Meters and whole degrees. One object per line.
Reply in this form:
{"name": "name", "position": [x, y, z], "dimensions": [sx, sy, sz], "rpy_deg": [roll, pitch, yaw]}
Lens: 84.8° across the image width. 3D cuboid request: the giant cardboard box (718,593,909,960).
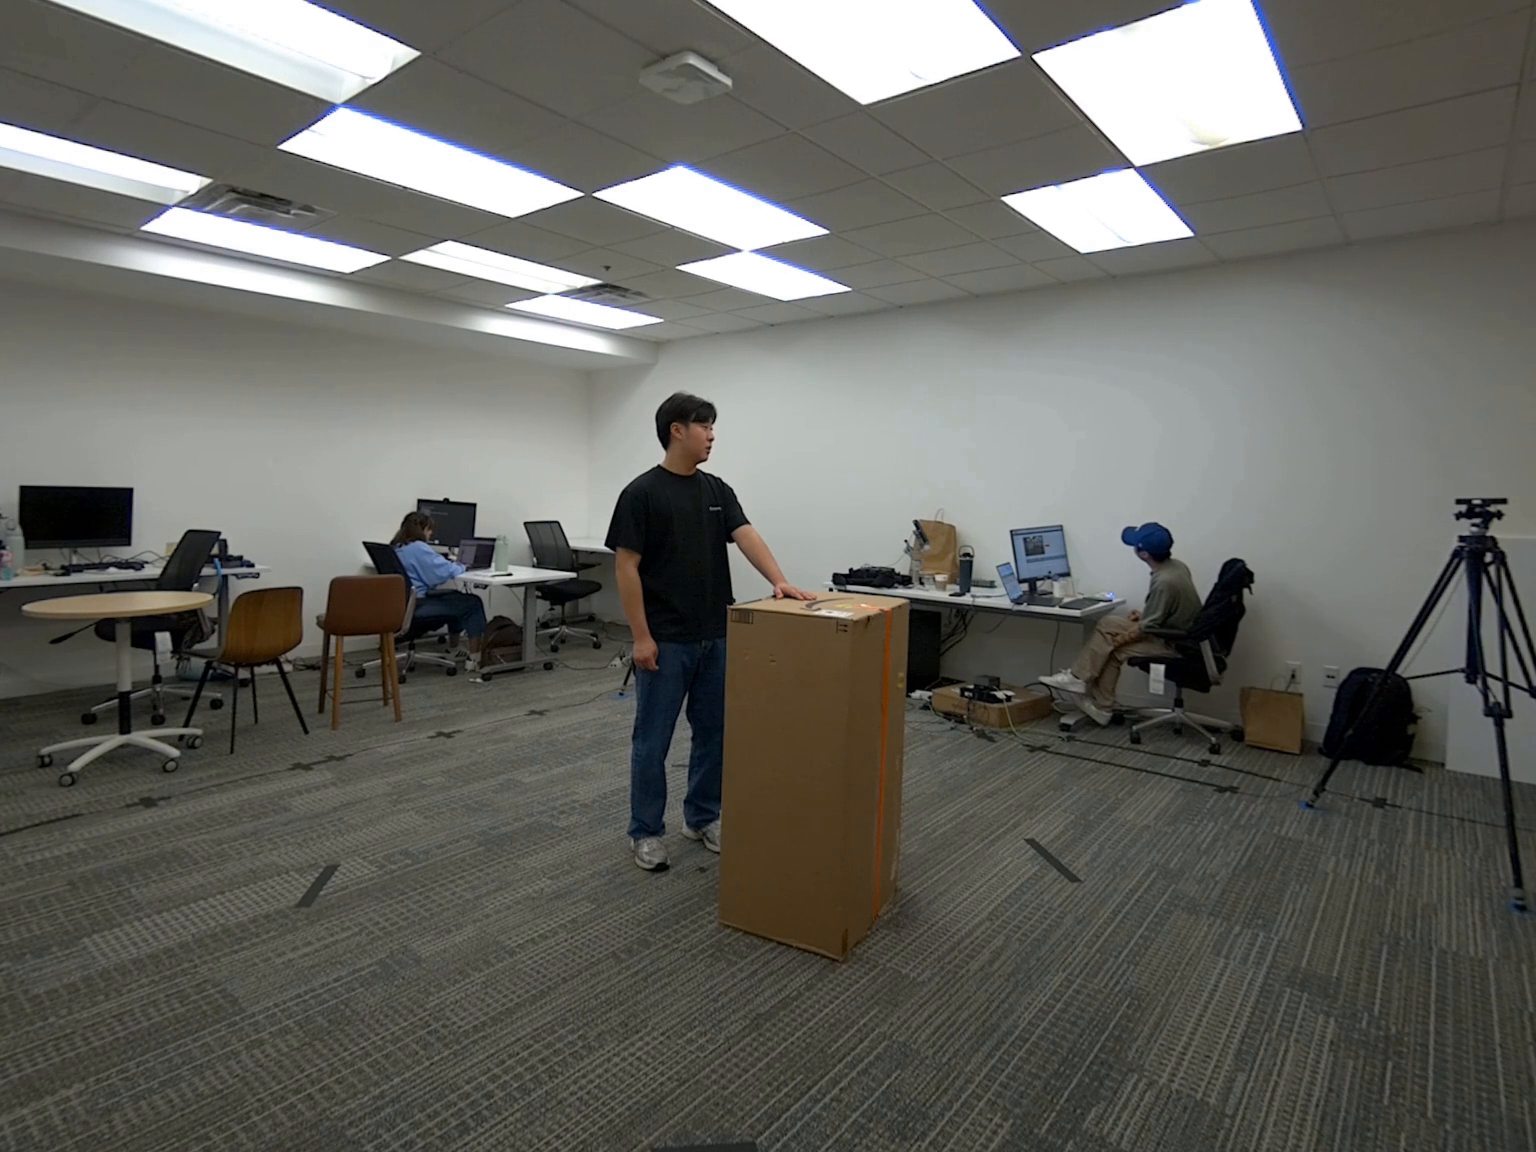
{"name": "giant cardboard box", "position": [0.163, 0.592, 2.835], "dimensions": [0.460, 1.024, 0.569], "rpy_deg": [4, 4, 28]}
